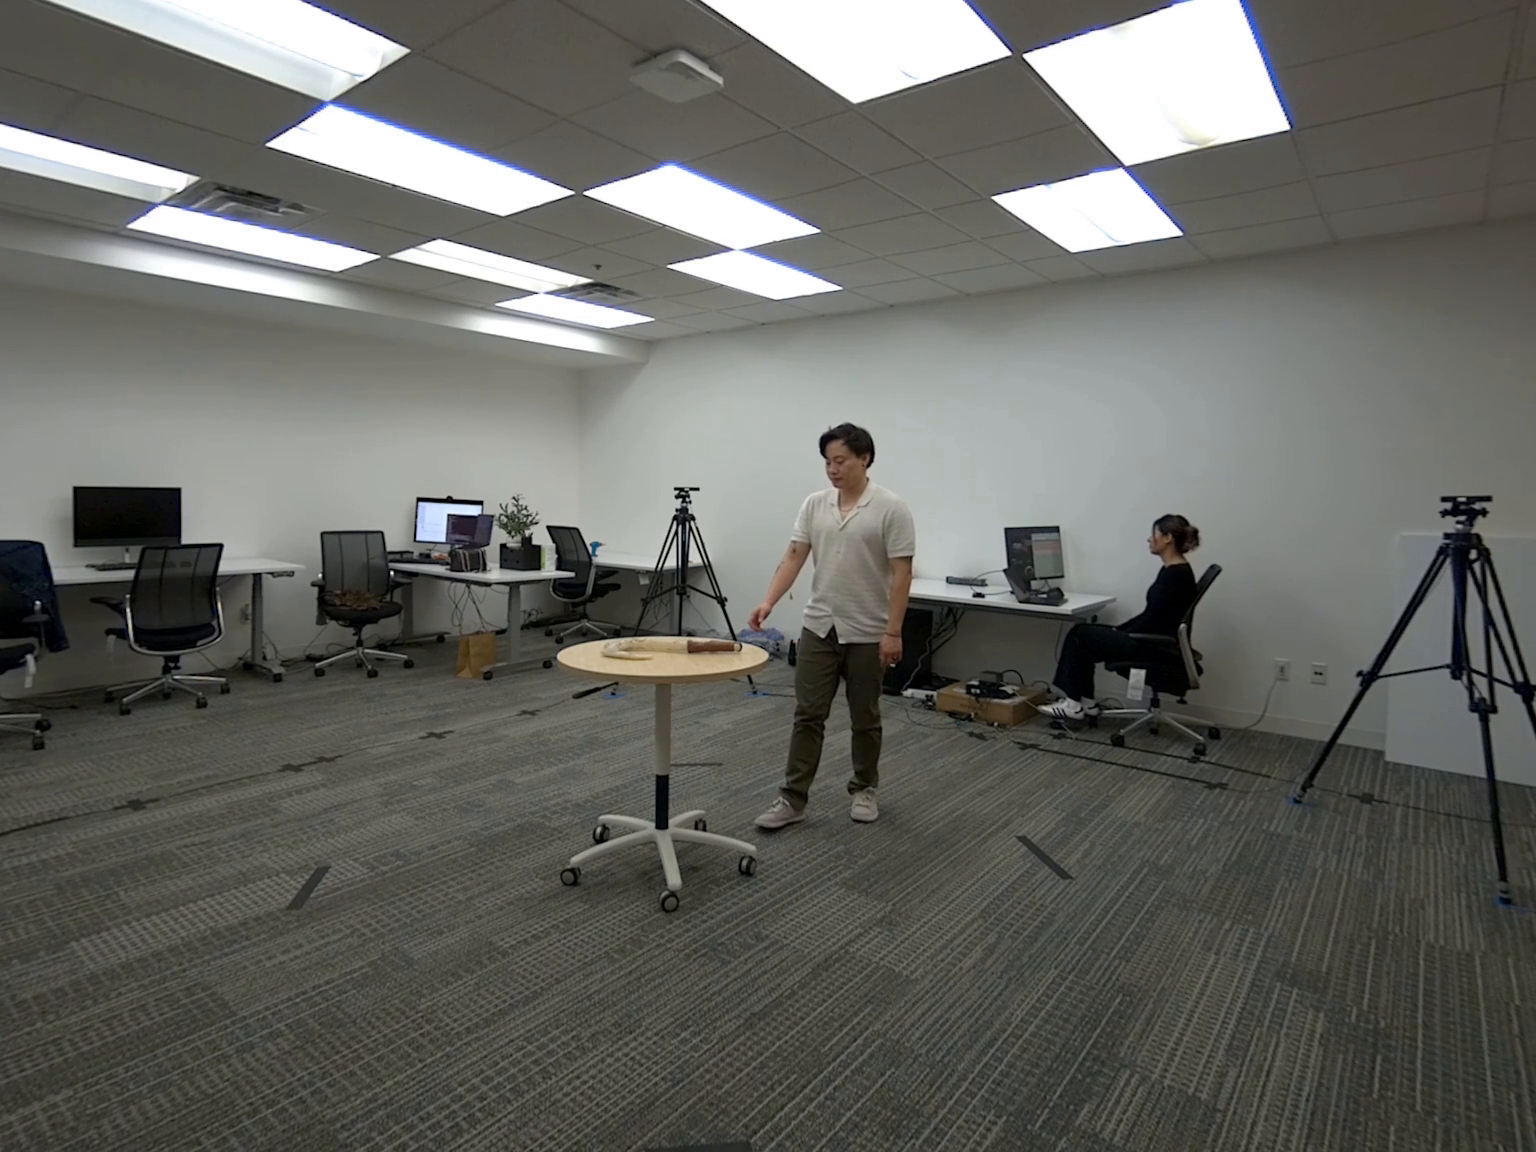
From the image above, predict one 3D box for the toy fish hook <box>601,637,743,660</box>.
[{"bbox_3d":[-0.359,0.269,3.073,0.508,0.048,0.226,-1,12,2],"label":"toy fish hook"}]
